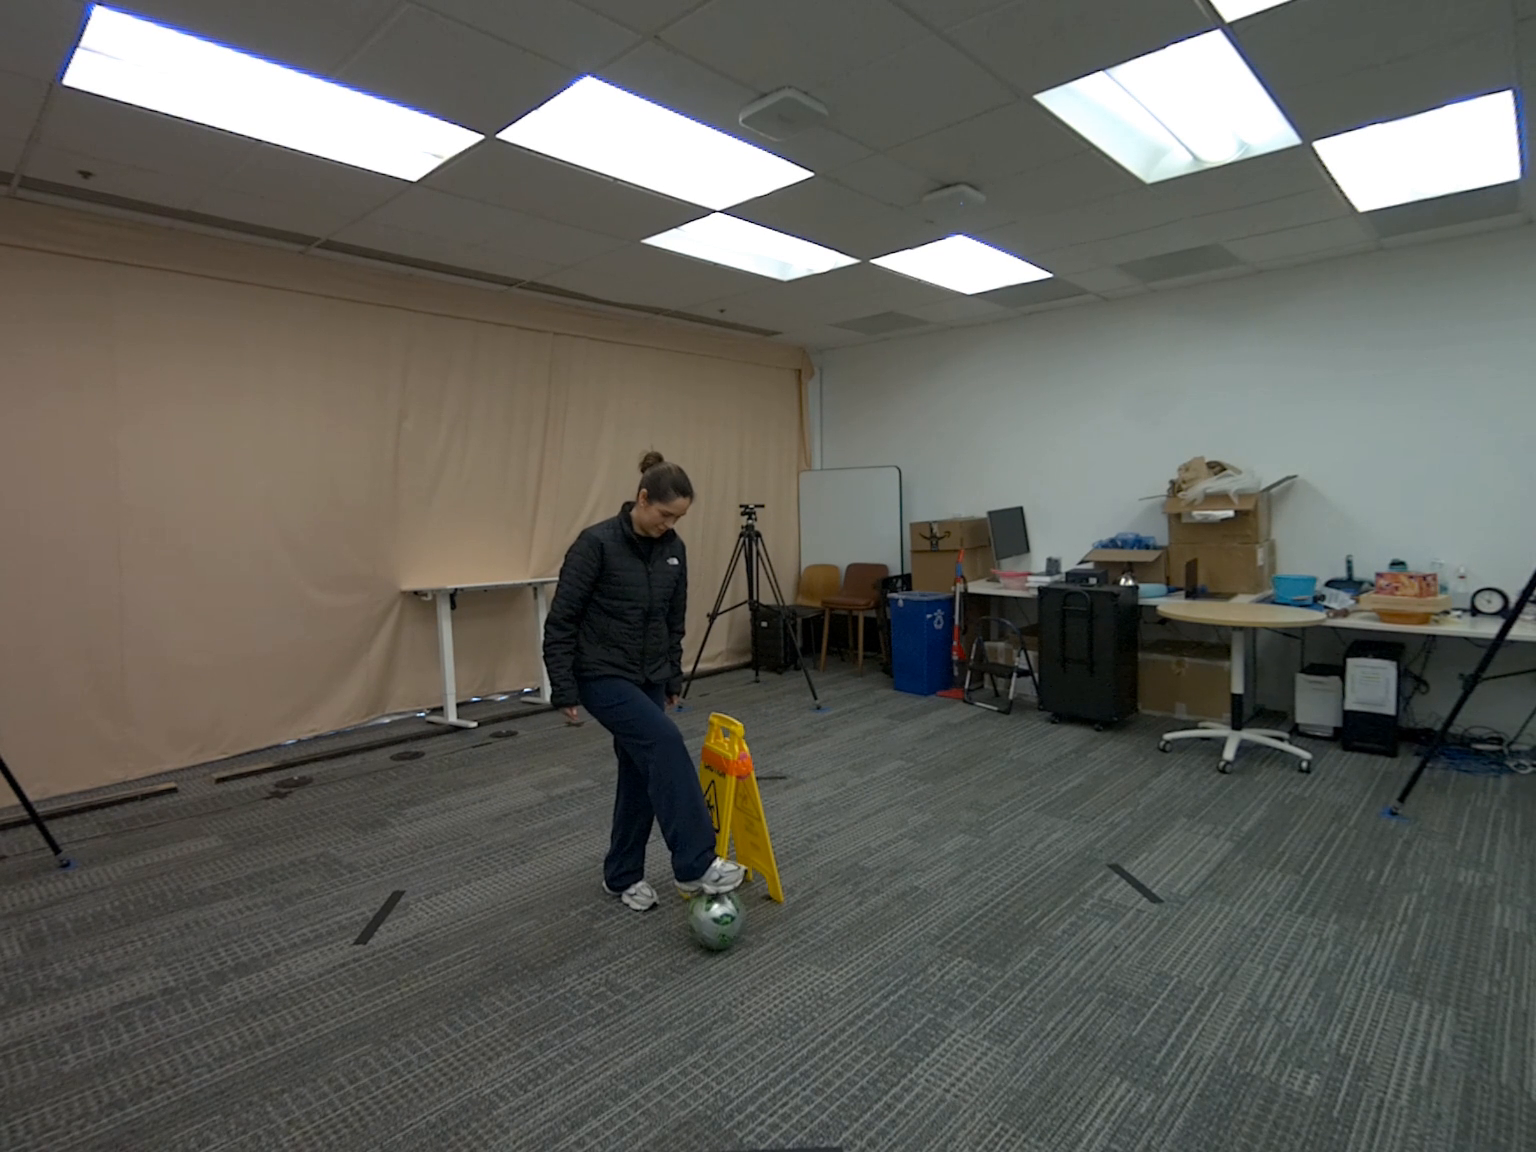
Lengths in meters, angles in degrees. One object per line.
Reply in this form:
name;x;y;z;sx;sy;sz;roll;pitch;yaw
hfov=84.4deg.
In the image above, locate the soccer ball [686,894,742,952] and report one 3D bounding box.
soccer ball;-0.165;1.066;2.659;0.187;0.187;0.188;-1;4;-2
